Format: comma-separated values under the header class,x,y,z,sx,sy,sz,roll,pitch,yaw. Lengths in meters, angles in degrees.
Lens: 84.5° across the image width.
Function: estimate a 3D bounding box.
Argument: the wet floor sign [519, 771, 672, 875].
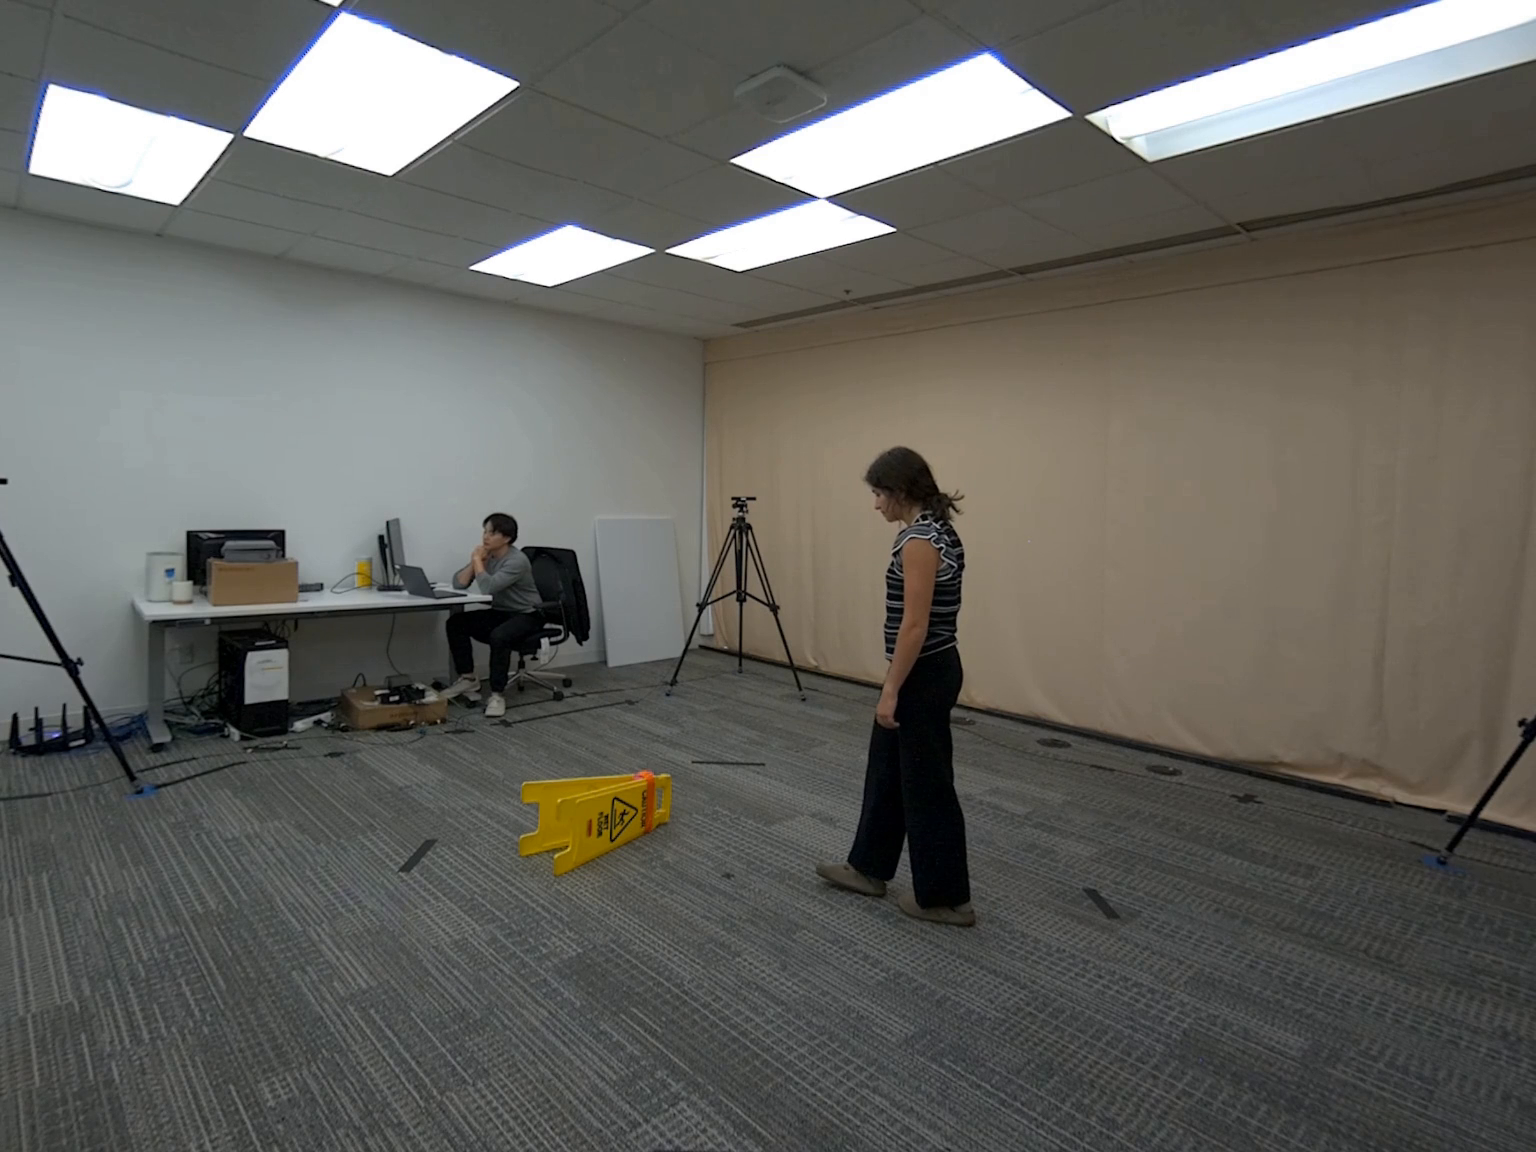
class,x,y,z,sx,sy,sz,roll,pitch,yaw
wet floor sign,-0.654,0.947,3.379,0.297,0.282,0.630,4,3,43
